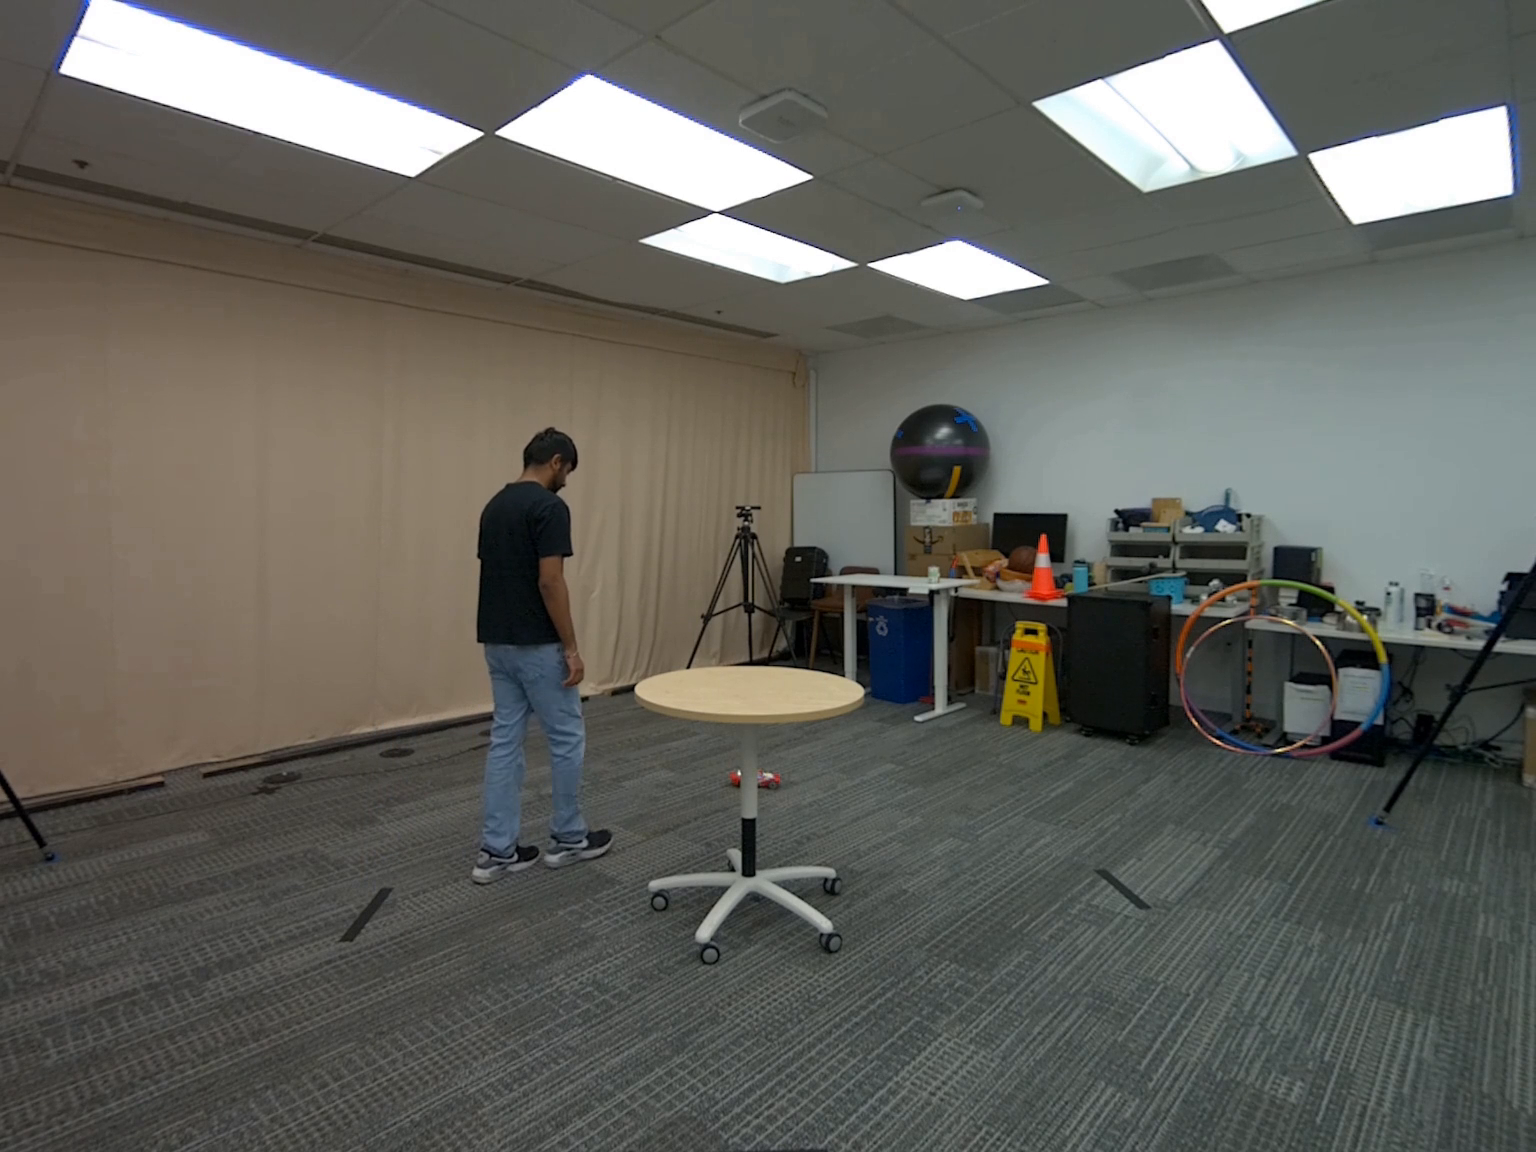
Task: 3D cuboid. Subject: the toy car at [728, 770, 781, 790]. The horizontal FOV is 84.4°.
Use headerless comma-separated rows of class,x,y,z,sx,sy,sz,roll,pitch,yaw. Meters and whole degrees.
toy car,-0.071,1.015,4.216,0.256,0.083,0.130,11,5,5
